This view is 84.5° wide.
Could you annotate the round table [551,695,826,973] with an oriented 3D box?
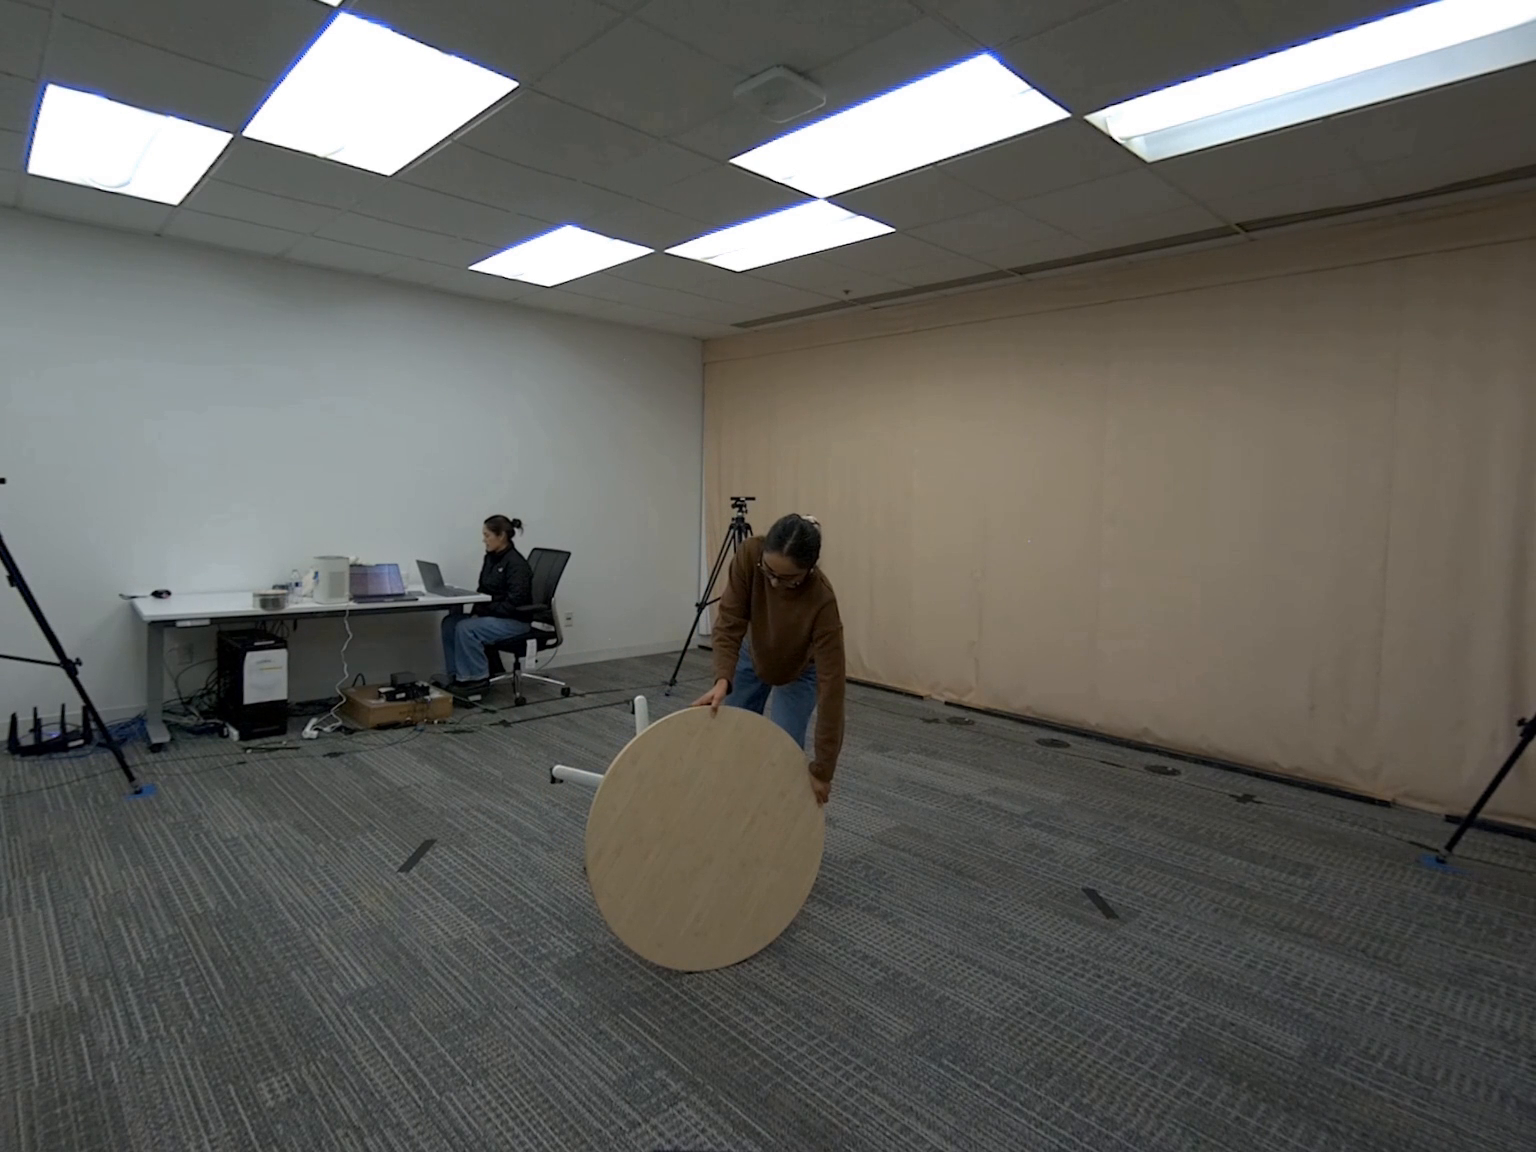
[{"bbox_3d":[-0.347,0.792,2.864,0.751,0.766,0.806,0,-3,-24],"label":"round table"}]
